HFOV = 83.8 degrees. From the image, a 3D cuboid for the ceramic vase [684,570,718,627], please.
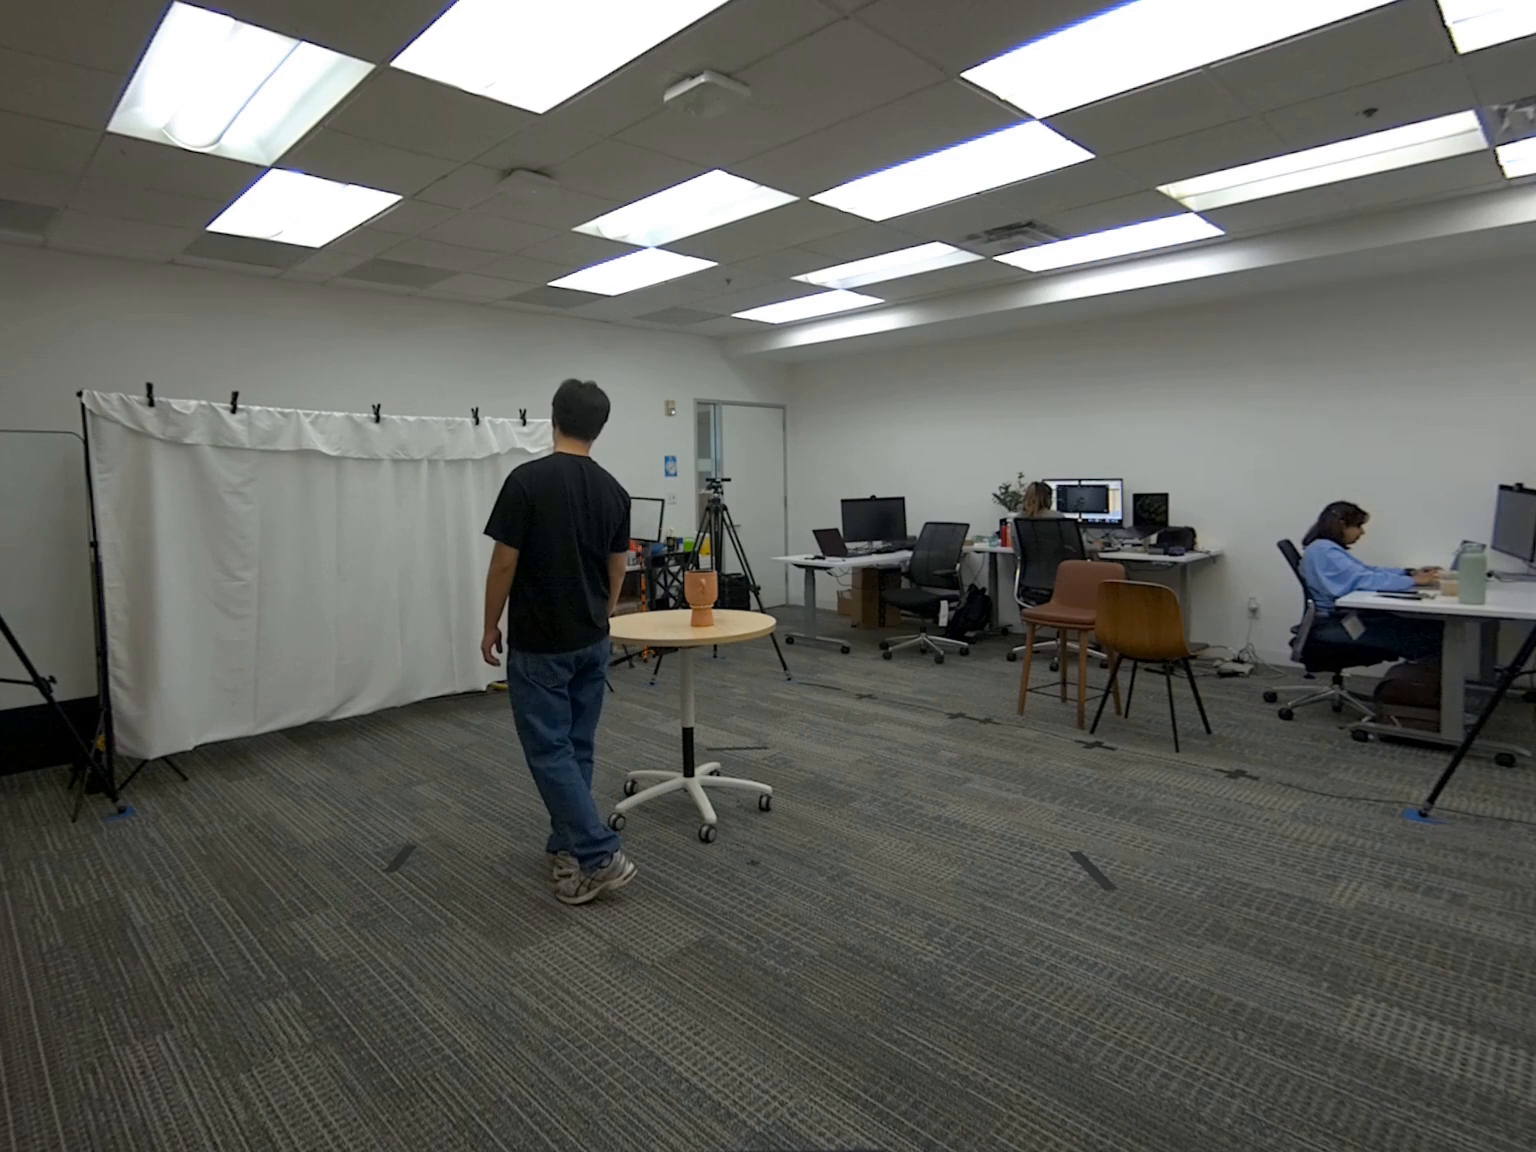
[{"bbox_3d":[-0.273,0.093,3.517,0.138,0.219,0.155,0,5,30],"label":"ceramic vase"}]
